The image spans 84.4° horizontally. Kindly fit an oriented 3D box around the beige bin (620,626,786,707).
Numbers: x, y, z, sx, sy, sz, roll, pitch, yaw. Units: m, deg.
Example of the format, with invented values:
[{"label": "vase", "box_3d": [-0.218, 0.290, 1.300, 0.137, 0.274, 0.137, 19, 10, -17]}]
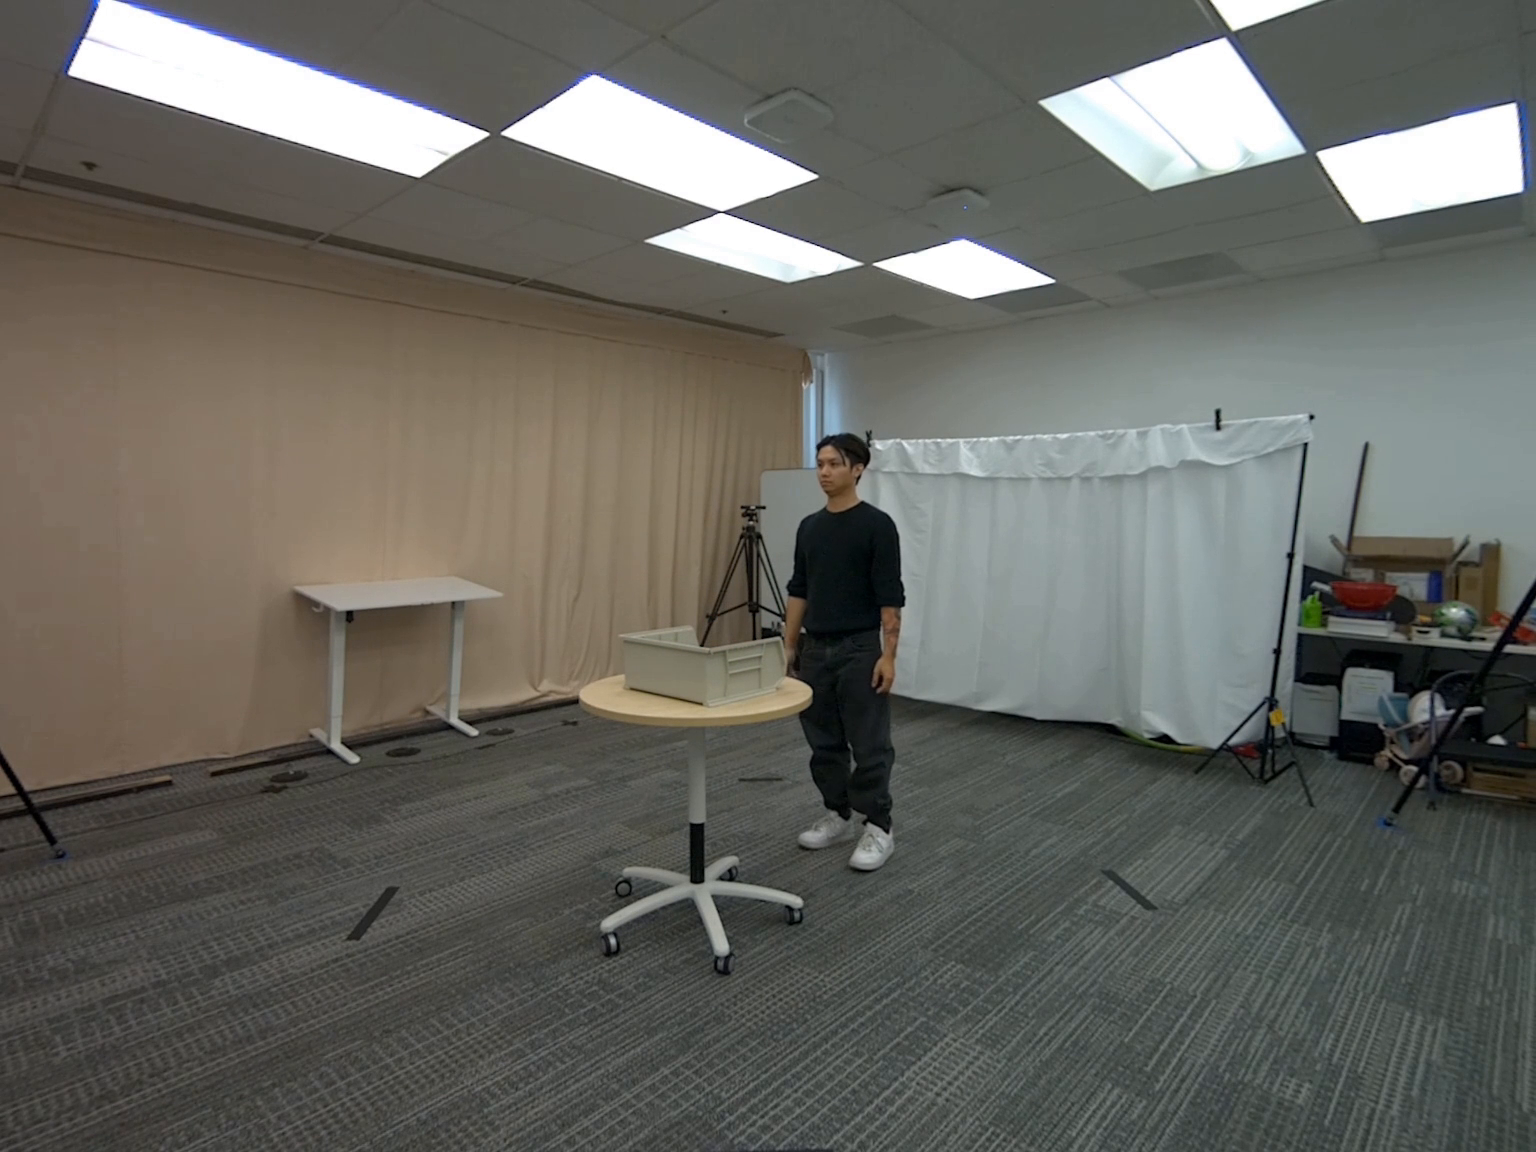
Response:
[{"label": "beige bin", "box_3d": [-0.212, 0.287, 2.792, 0.436, 0.188, 0.366, 4, 7, 42]}]
